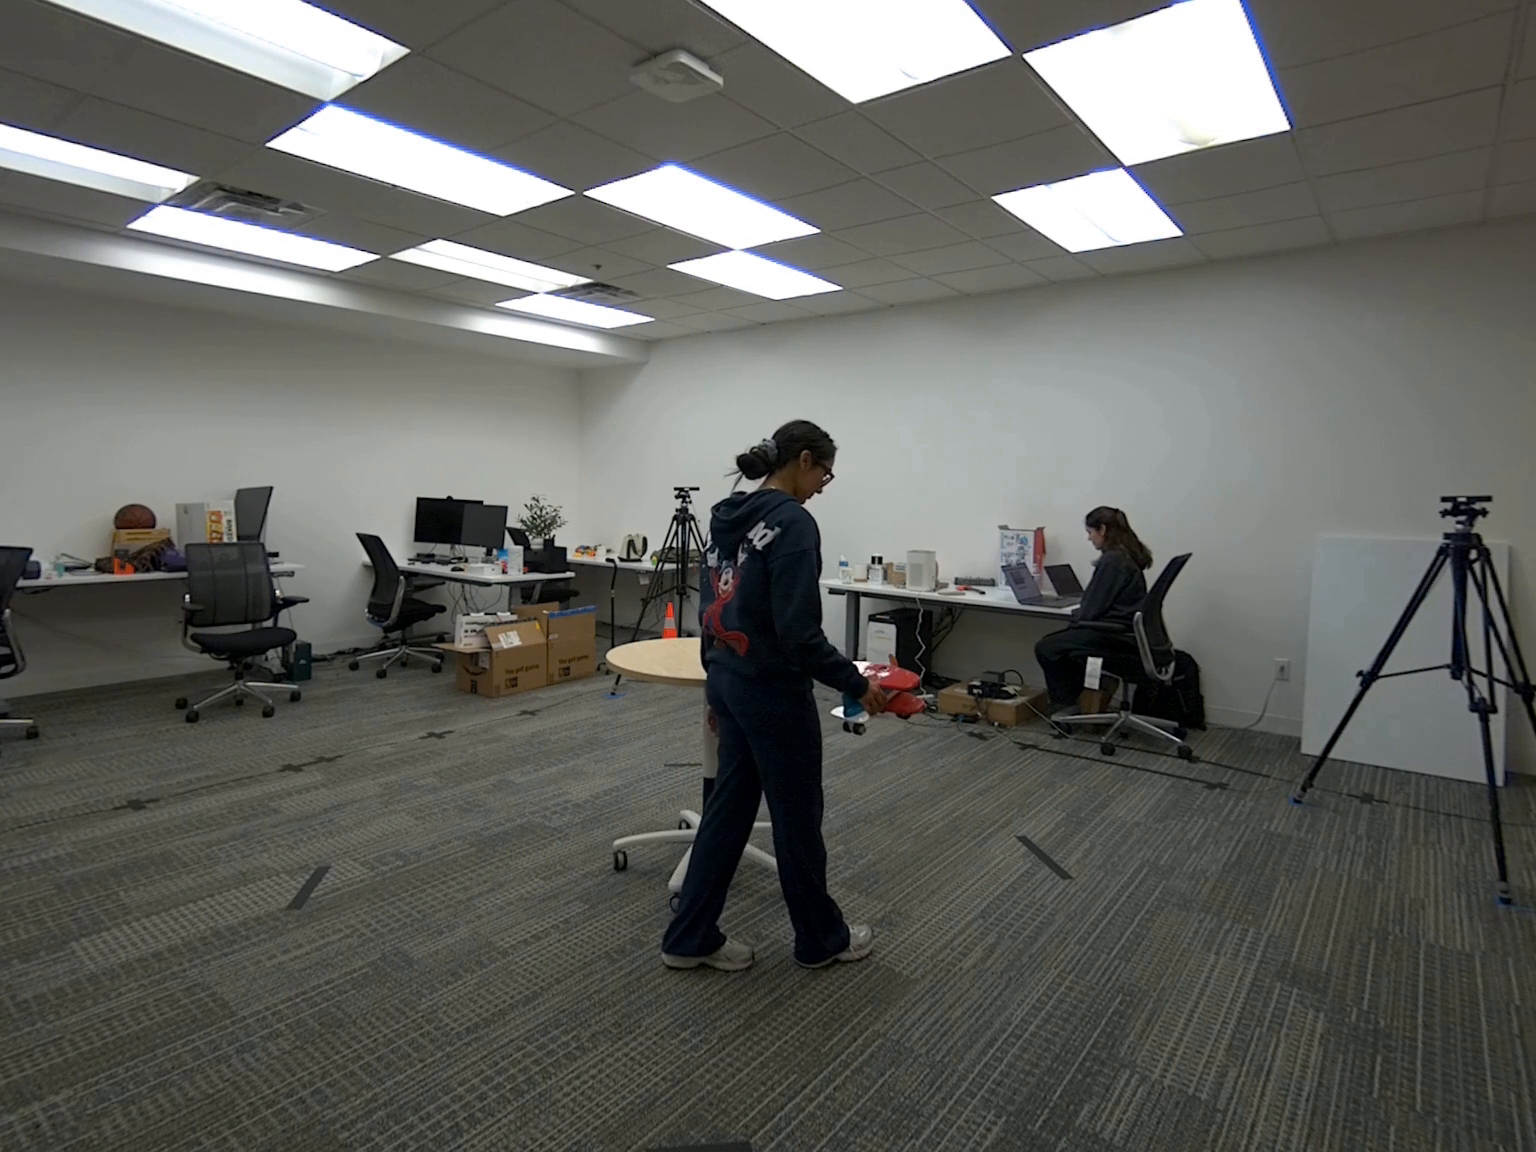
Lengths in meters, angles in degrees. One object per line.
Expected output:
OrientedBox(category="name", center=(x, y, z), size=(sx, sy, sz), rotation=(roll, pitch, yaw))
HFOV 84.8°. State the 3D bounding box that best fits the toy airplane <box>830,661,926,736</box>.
OrientedBox(category="toy airplane", center=(0.299, 0.350, 2.390), size=(0.257, 0.155, 0.256), rotation=(0, 11, 22))
